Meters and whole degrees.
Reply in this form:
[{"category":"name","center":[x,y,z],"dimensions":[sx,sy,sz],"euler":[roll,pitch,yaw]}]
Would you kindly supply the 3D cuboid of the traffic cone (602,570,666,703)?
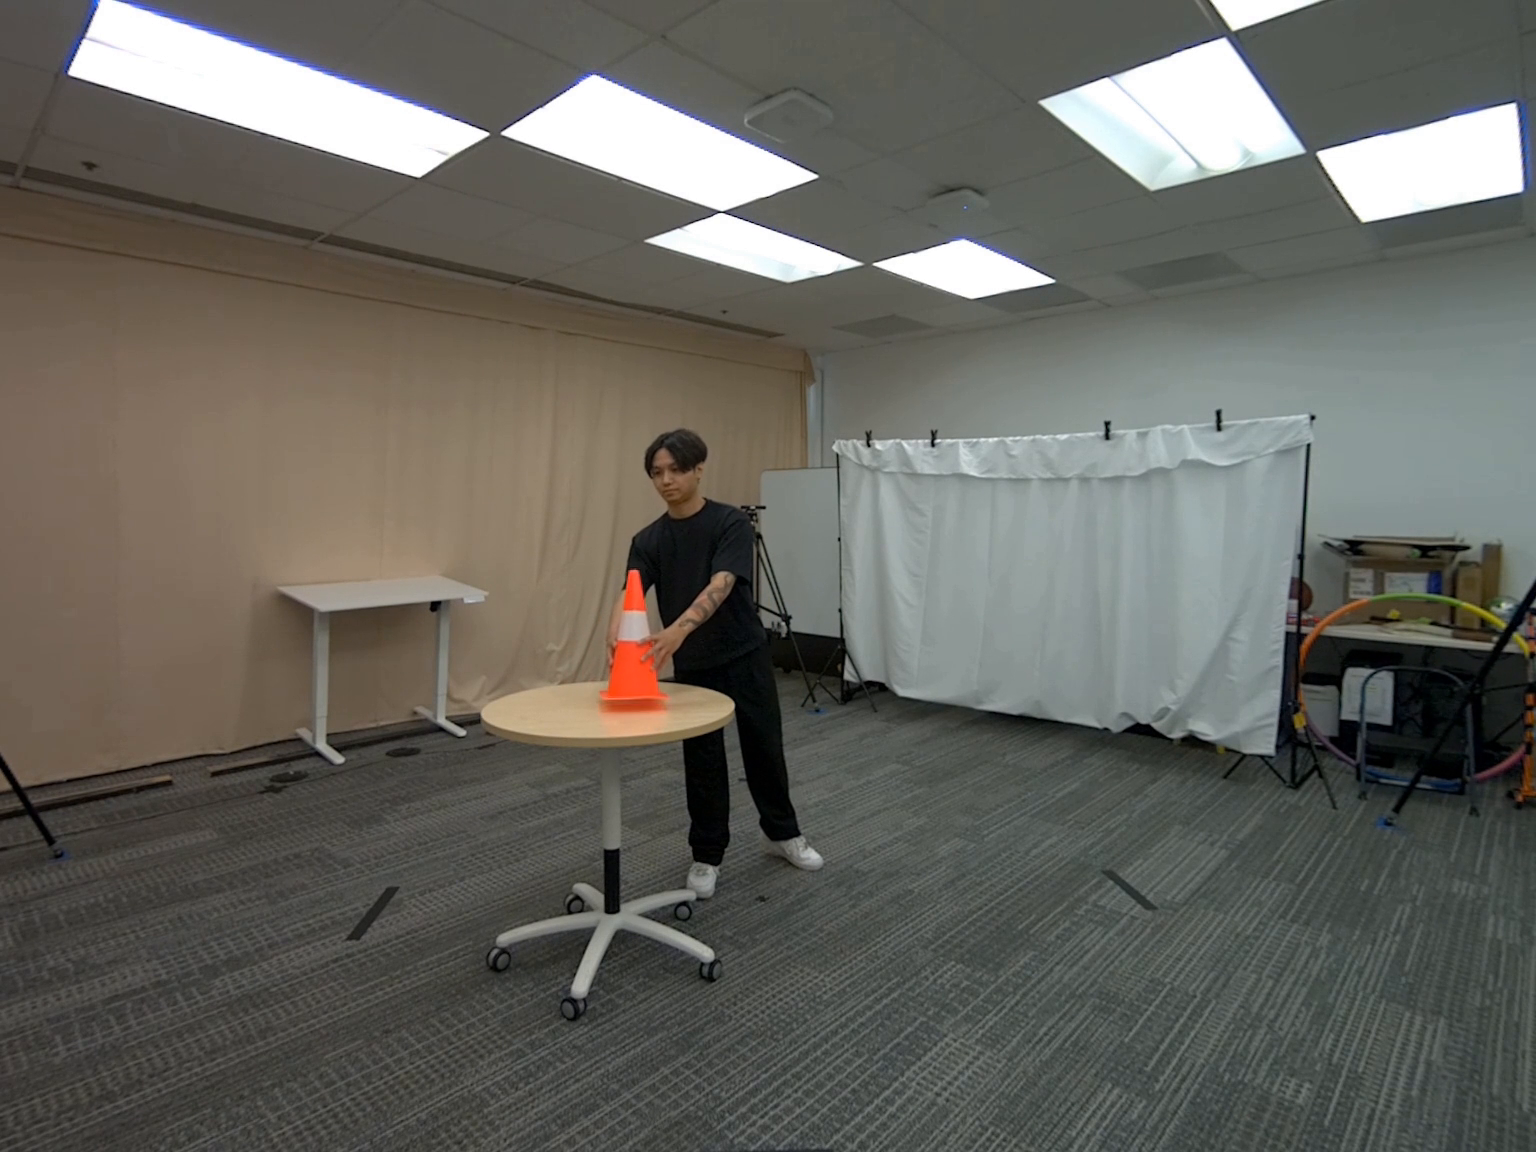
[{"category":"traffic cone","center":[-0.406,0.175,2.587],"dimensions":[0.200,0.384,0.207],"euler":[1,-3,-13]}]
